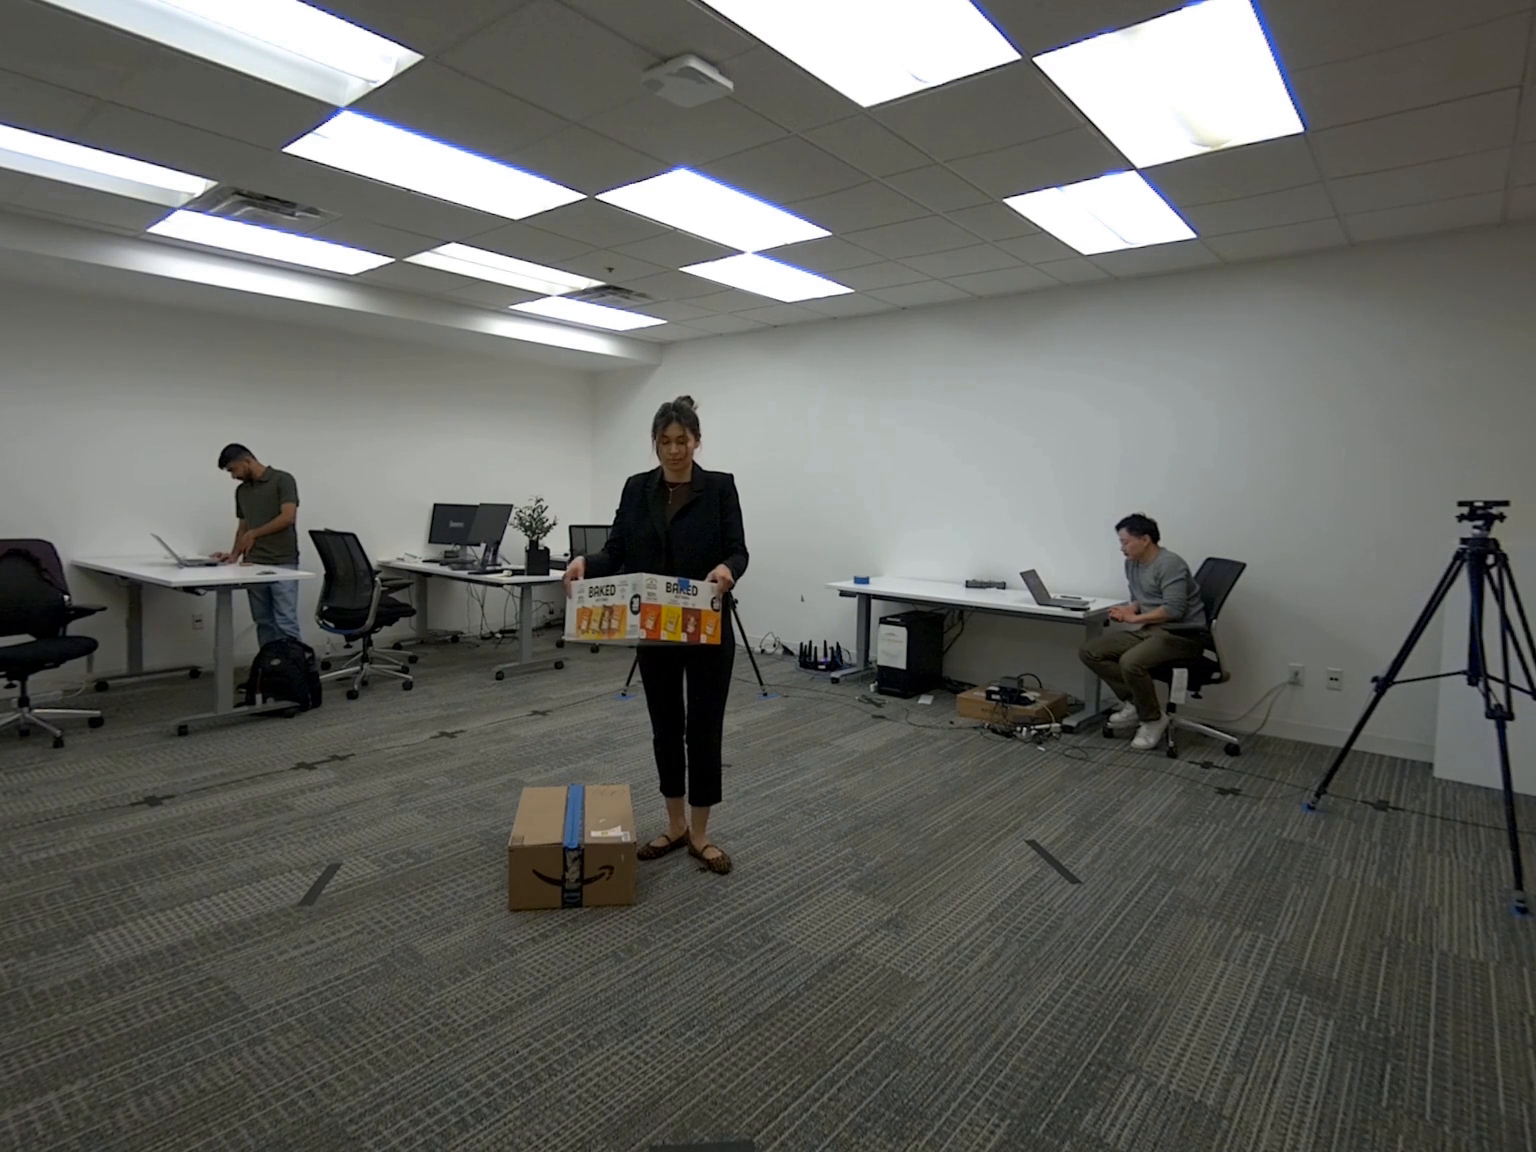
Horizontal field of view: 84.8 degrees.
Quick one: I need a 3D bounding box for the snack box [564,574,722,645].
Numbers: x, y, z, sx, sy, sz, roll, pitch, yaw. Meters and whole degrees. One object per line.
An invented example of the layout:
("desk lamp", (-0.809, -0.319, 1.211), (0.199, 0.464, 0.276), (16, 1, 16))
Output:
("snack box", (-0.427, 0.119, 2.839), (0.328, 0.207, 0.416), (10, -12, -44))
